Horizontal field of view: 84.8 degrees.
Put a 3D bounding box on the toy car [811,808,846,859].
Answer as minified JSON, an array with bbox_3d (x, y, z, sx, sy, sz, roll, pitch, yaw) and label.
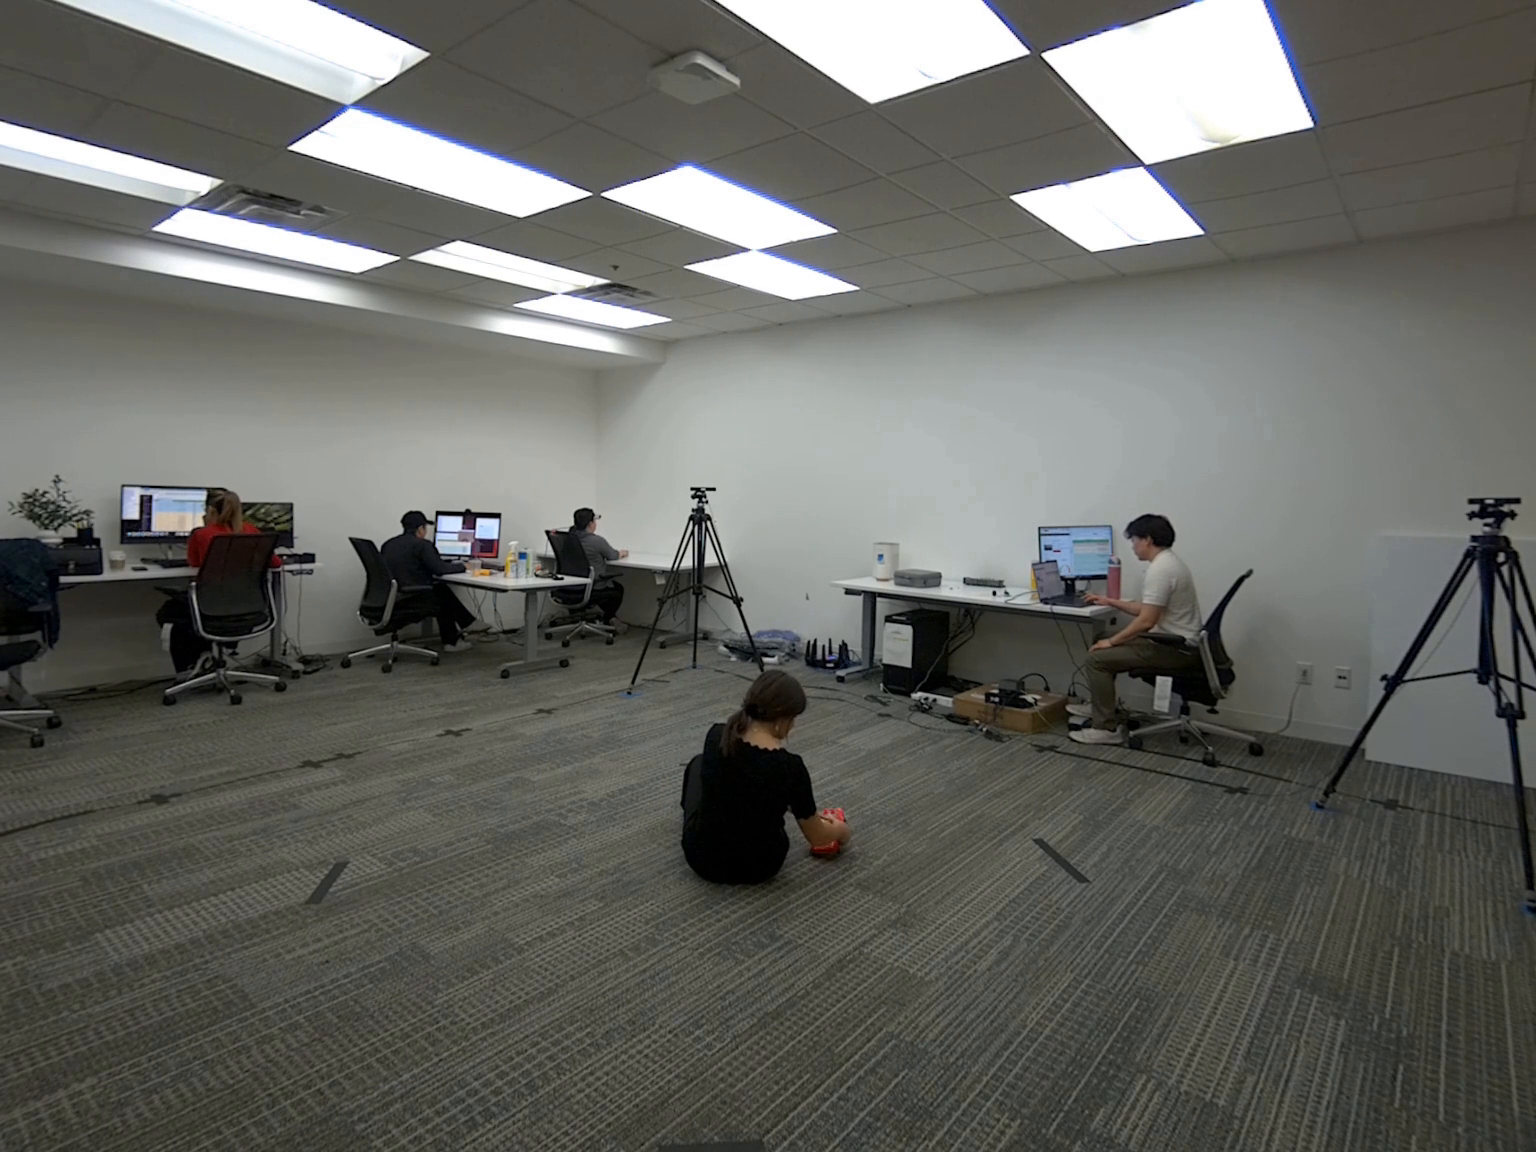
[{"bbox_3d":[0.233,0.995,3.305,0.132,0.081,0.257,-10,27,19],"label":"toy car"}]
